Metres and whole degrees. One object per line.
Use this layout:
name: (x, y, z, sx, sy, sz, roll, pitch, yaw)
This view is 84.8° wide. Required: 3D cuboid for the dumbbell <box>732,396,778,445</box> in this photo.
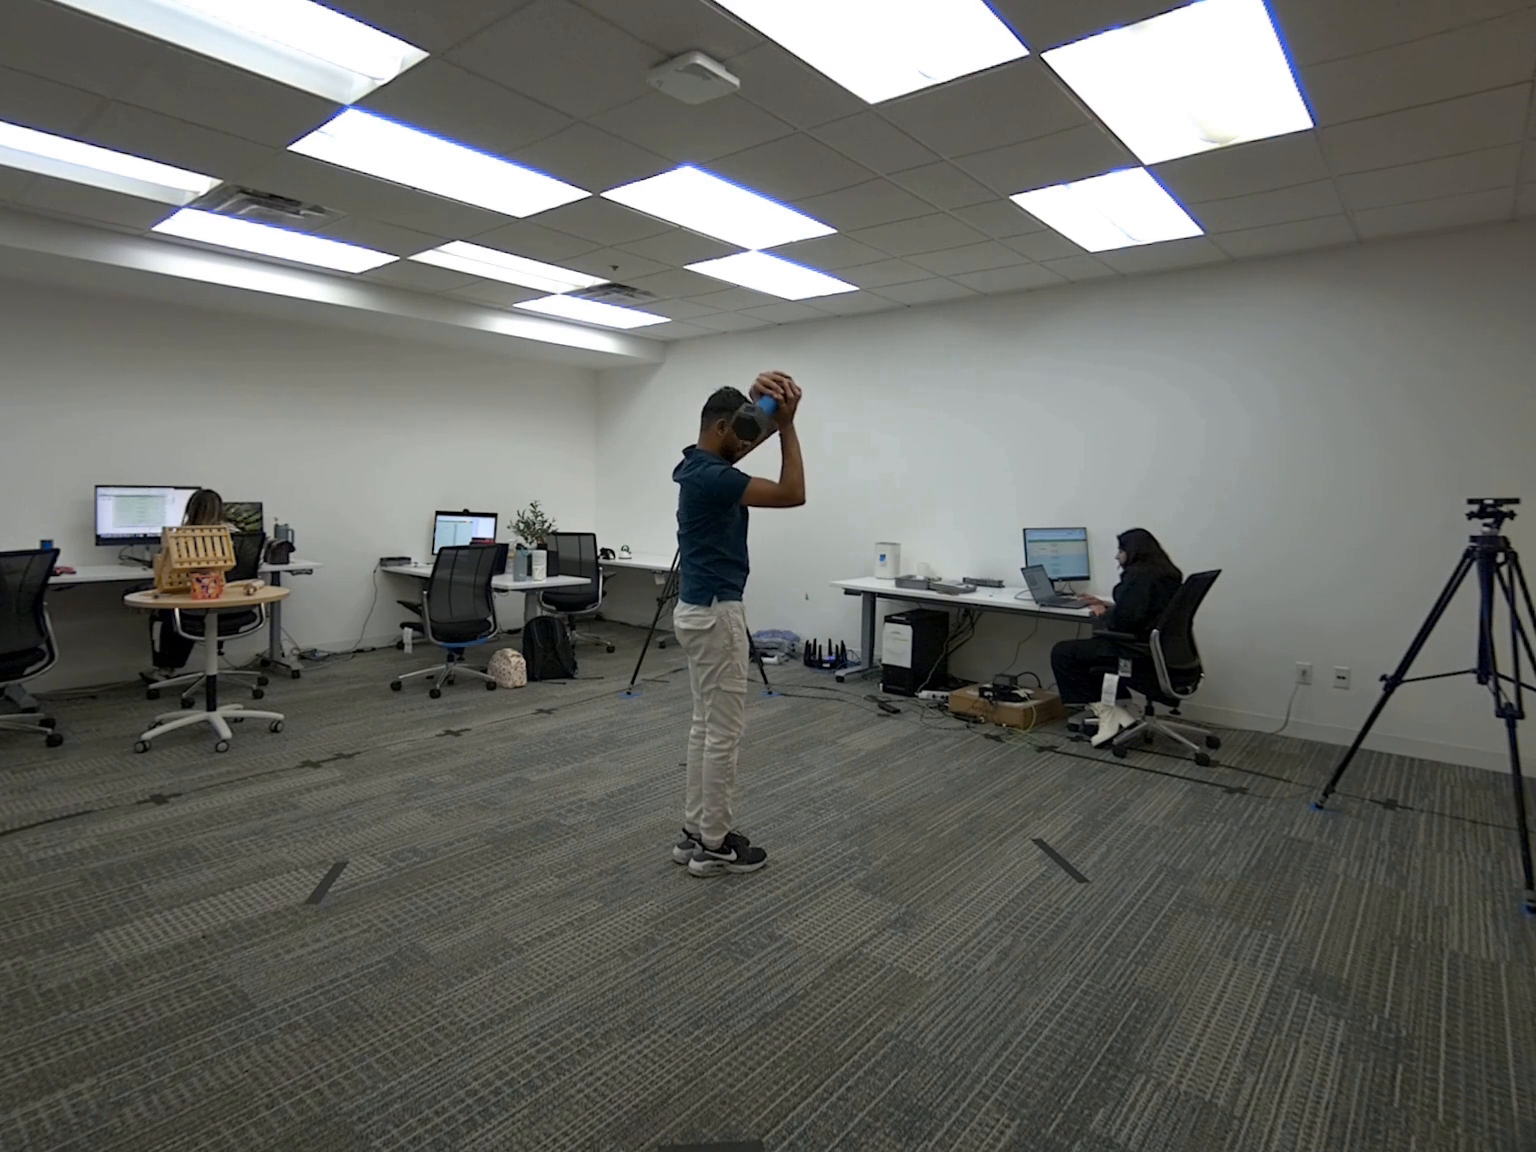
dumbbell: (-0.024, -0.556, 2.876, 0.111, 0.120, 0.294, -13, 29, 41)
